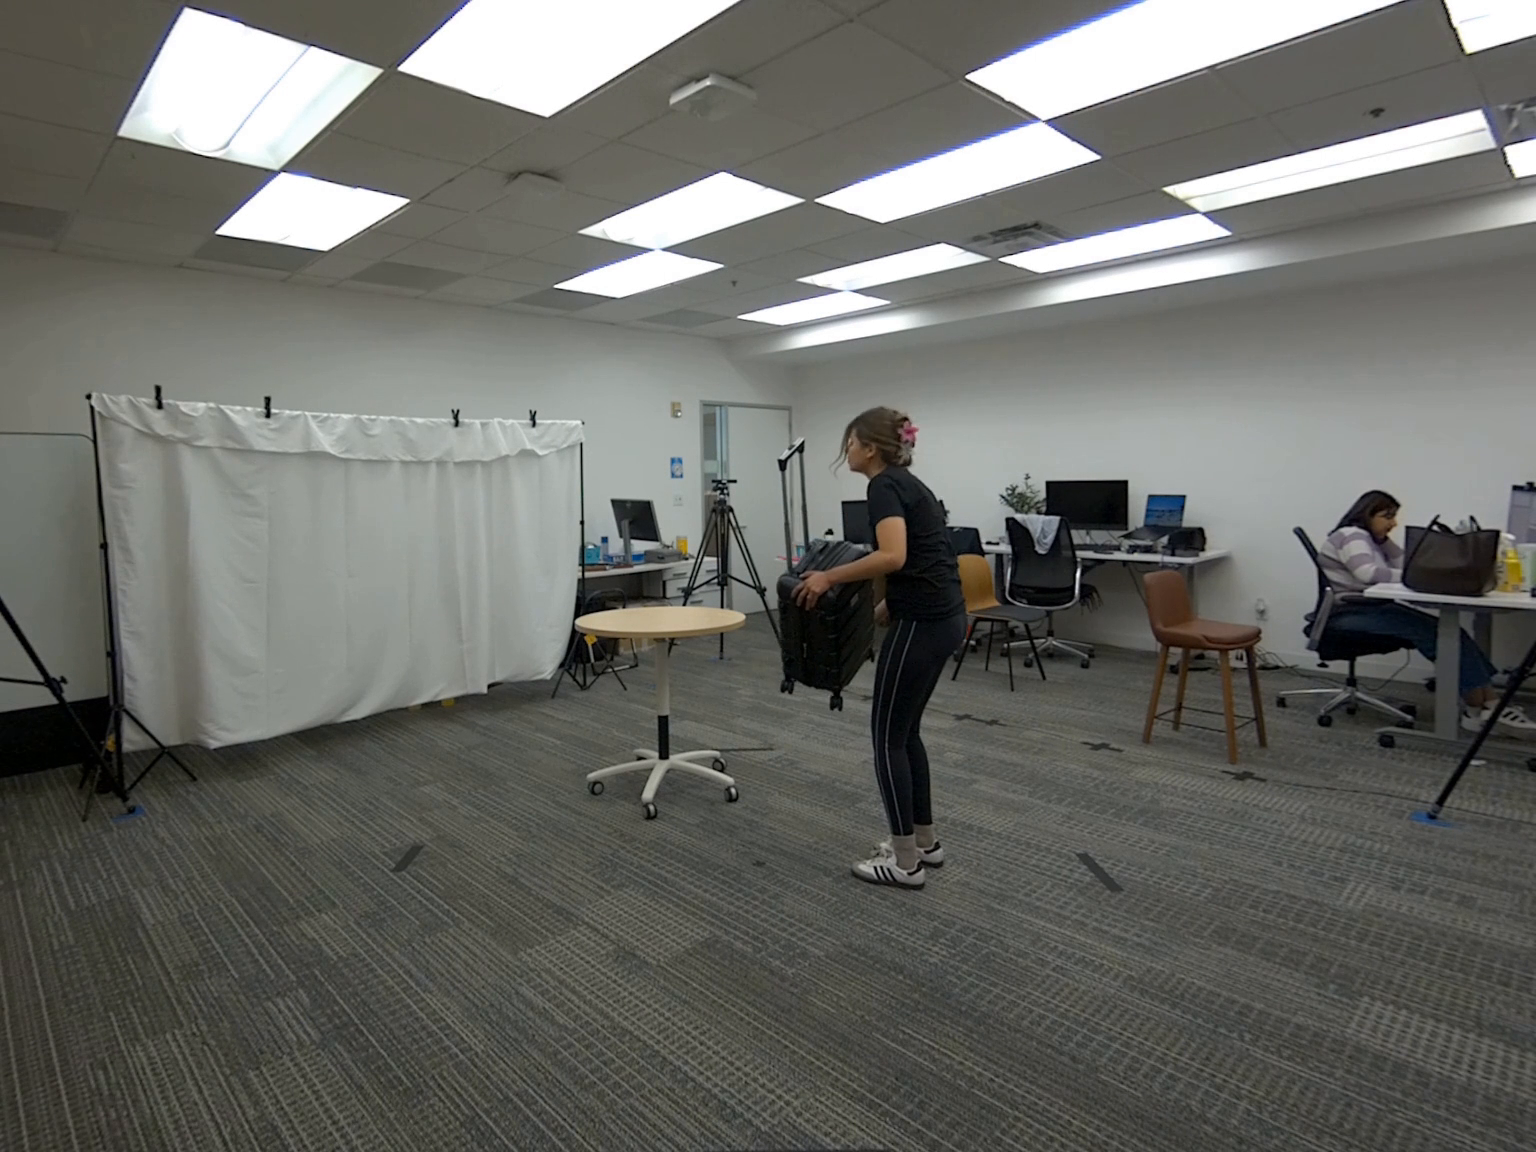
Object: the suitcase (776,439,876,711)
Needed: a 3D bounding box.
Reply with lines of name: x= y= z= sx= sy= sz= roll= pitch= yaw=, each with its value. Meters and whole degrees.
suitcase: x=0.217 y=-0.006 z=3.093 sx=0.265 sy=0.952 sz=0.383 roll=18 pitch=41 yaw=29
